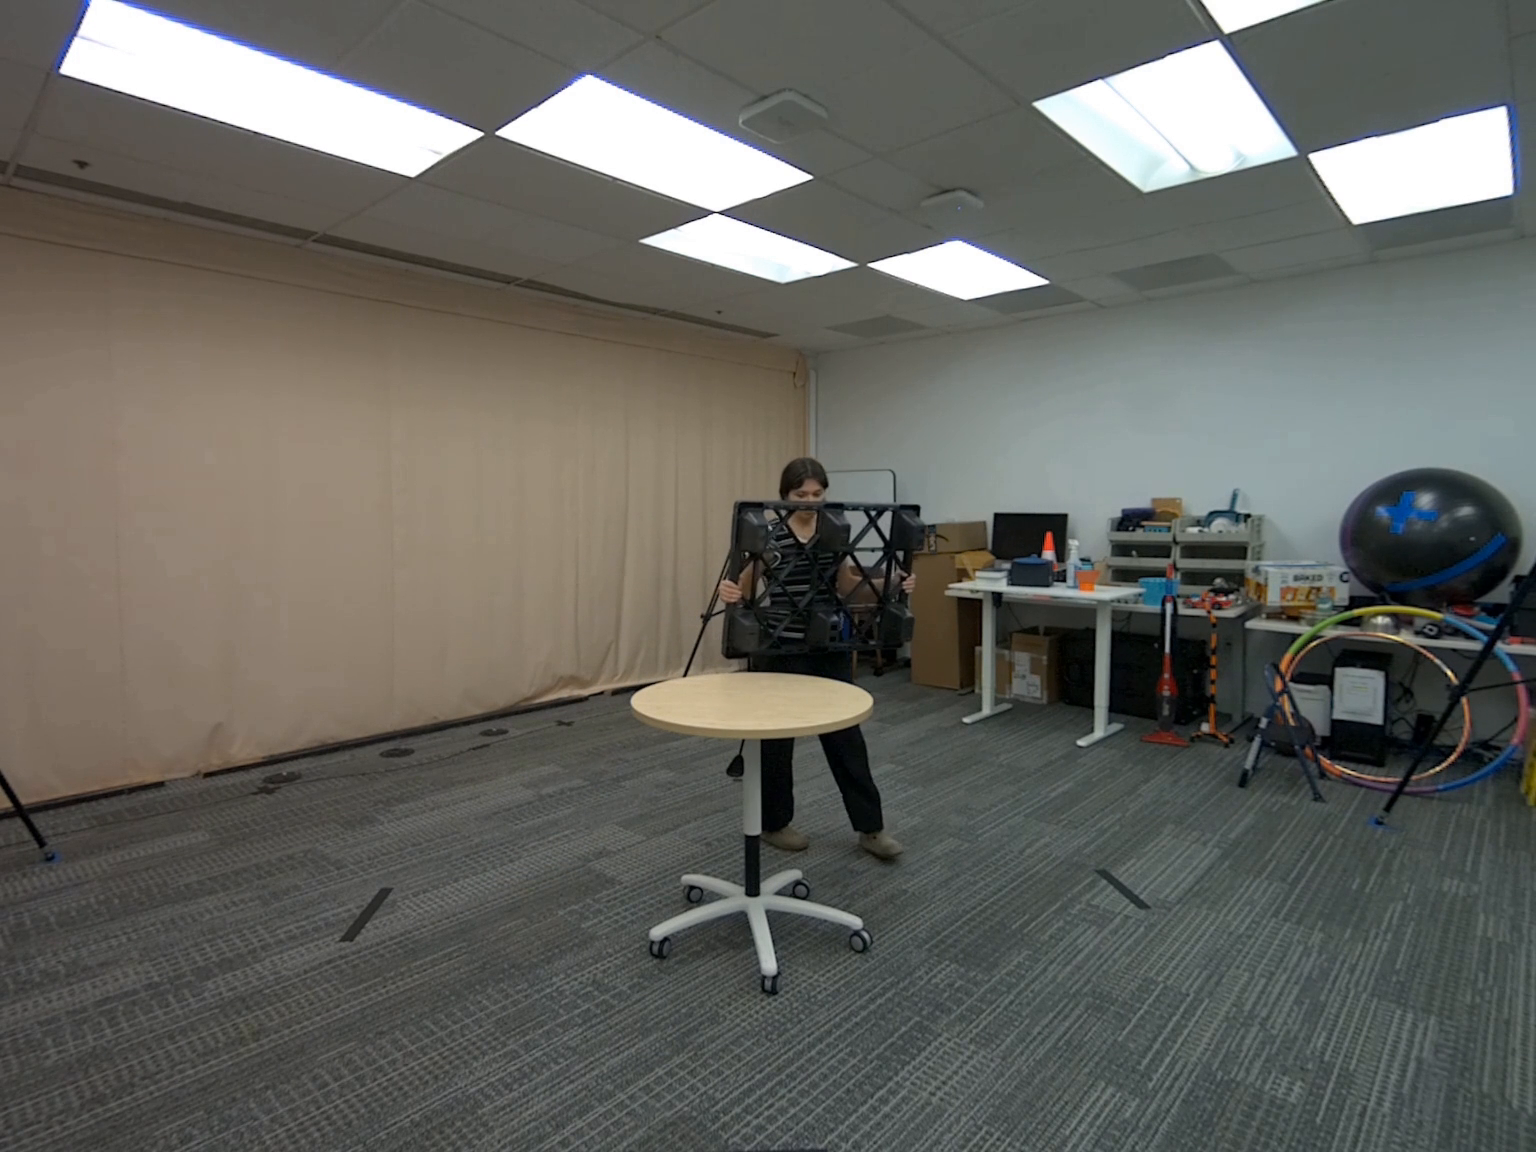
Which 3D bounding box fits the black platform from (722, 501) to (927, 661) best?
[{"bbox_3d":[0.243,0.018,3.199,0.788,0.601,0.147,0,13,-22],"label":"black platform"}]
